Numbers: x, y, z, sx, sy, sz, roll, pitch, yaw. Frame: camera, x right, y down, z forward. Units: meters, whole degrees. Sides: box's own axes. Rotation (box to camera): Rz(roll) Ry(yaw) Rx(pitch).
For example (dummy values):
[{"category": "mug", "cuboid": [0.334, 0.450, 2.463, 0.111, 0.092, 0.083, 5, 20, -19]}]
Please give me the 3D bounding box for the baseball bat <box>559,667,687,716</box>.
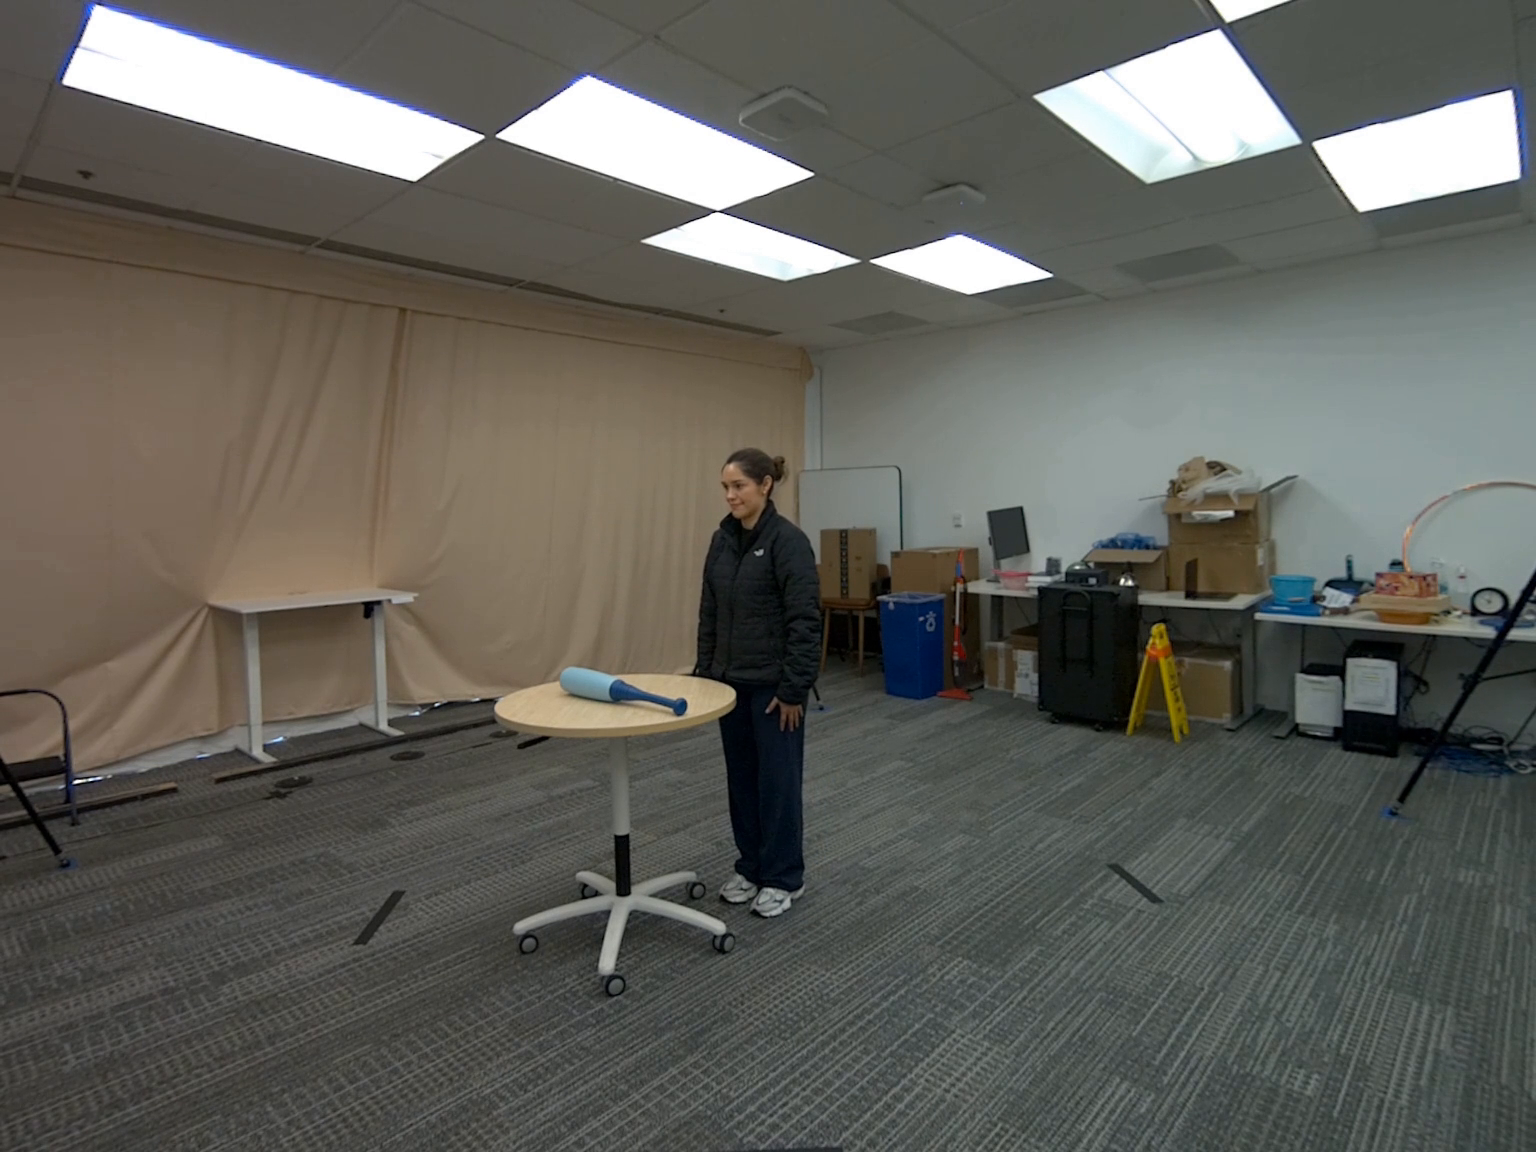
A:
[{"category": "baseball bat", "cuboid": [-0.432, 0.361, 2.622, 0.561, 0.089, 0.086, 4, 6, 40]}]
